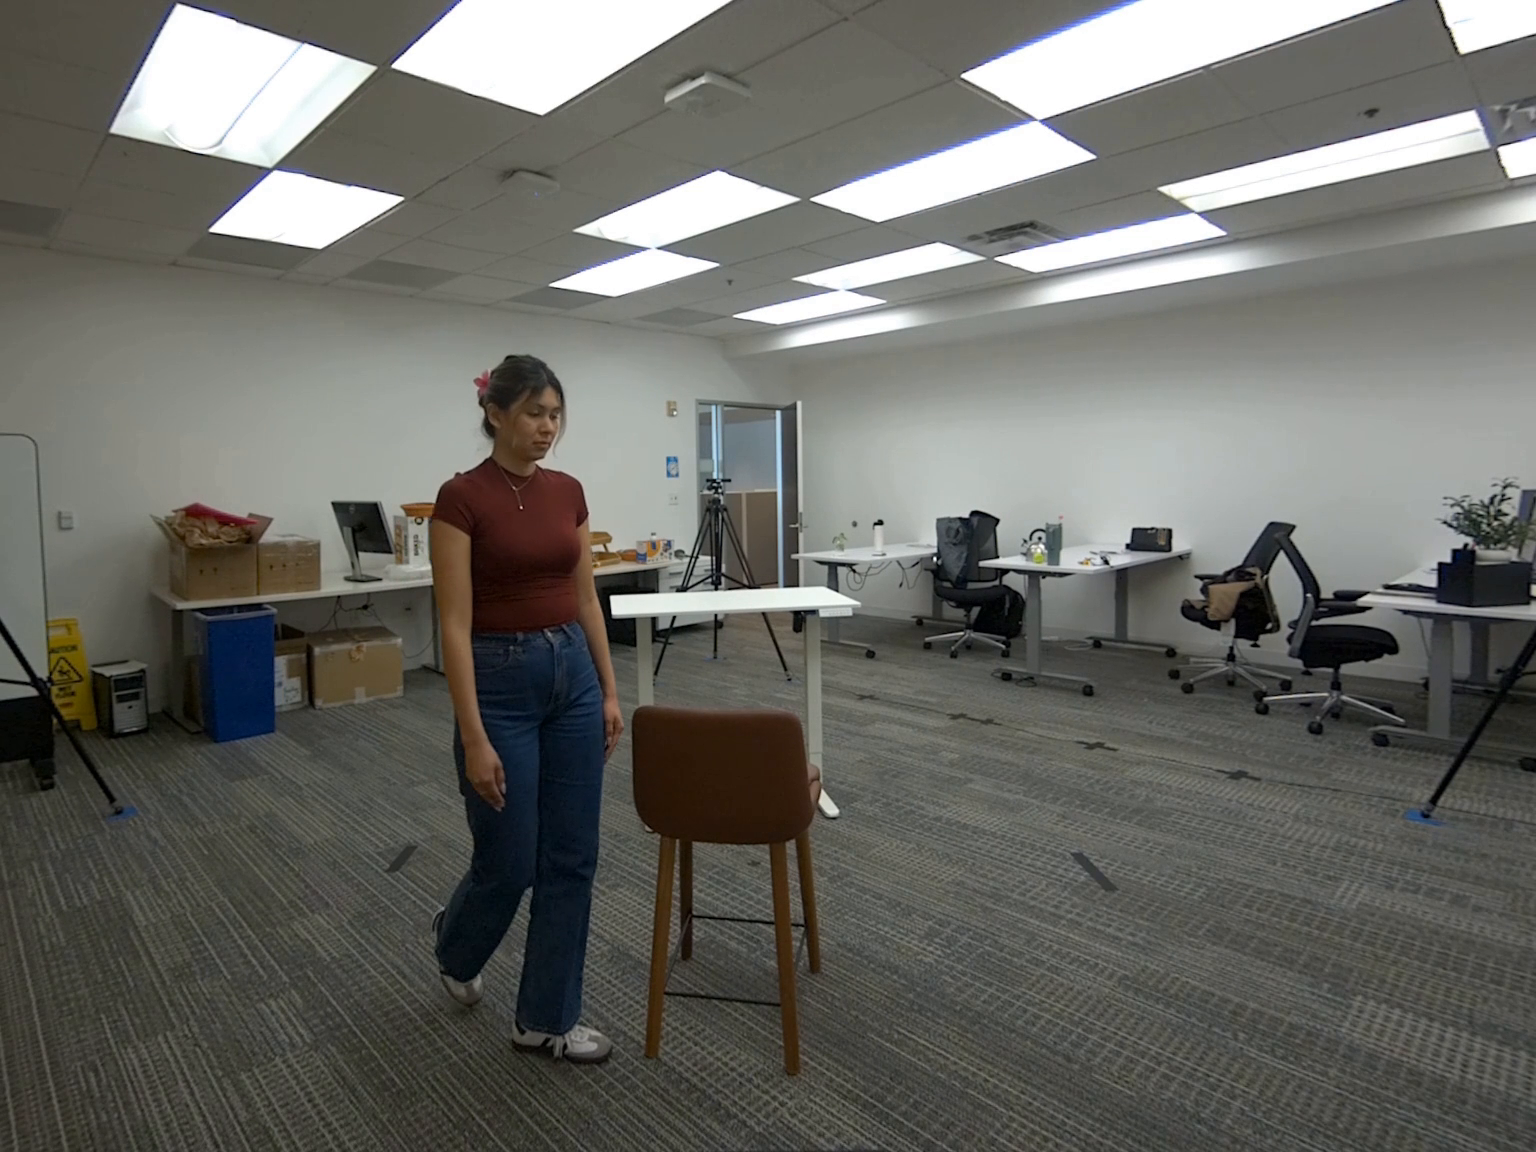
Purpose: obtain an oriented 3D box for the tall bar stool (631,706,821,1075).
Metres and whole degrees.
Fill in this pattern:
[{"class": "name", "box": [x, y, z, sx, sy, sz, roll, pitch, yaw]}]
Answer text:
[{"class": "tall bar stool", "box": [-0.086, 0.722, 2.224, 0.461, 0.885, 0.465, -1, 6, 10]}]
